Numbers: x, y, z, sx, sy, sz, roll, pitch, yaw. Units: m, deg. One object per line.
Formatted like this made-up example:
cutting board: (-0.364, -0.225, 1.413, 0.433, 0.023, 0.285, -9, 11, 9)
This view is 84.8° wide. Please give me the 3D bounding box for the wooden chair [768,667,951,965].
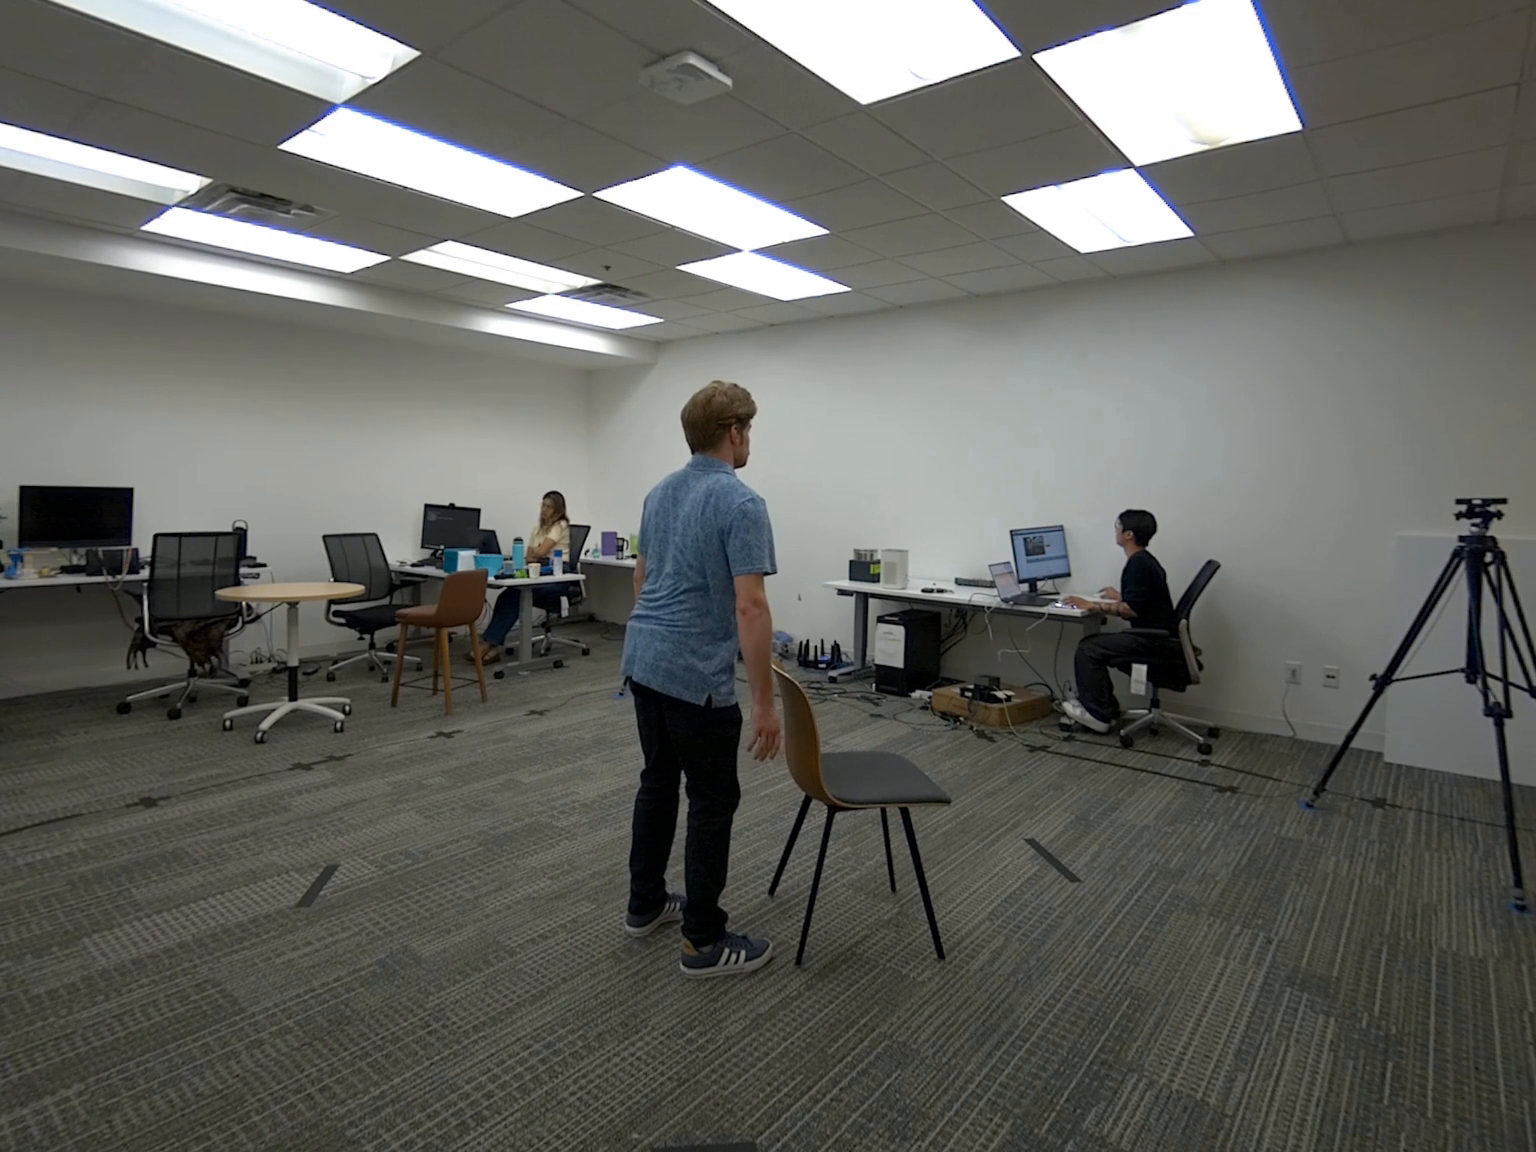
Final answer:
wooden chair: (0.280, 0.693, 2.710, 0.519, 0.875, 0.484, -3, 3, -9)
